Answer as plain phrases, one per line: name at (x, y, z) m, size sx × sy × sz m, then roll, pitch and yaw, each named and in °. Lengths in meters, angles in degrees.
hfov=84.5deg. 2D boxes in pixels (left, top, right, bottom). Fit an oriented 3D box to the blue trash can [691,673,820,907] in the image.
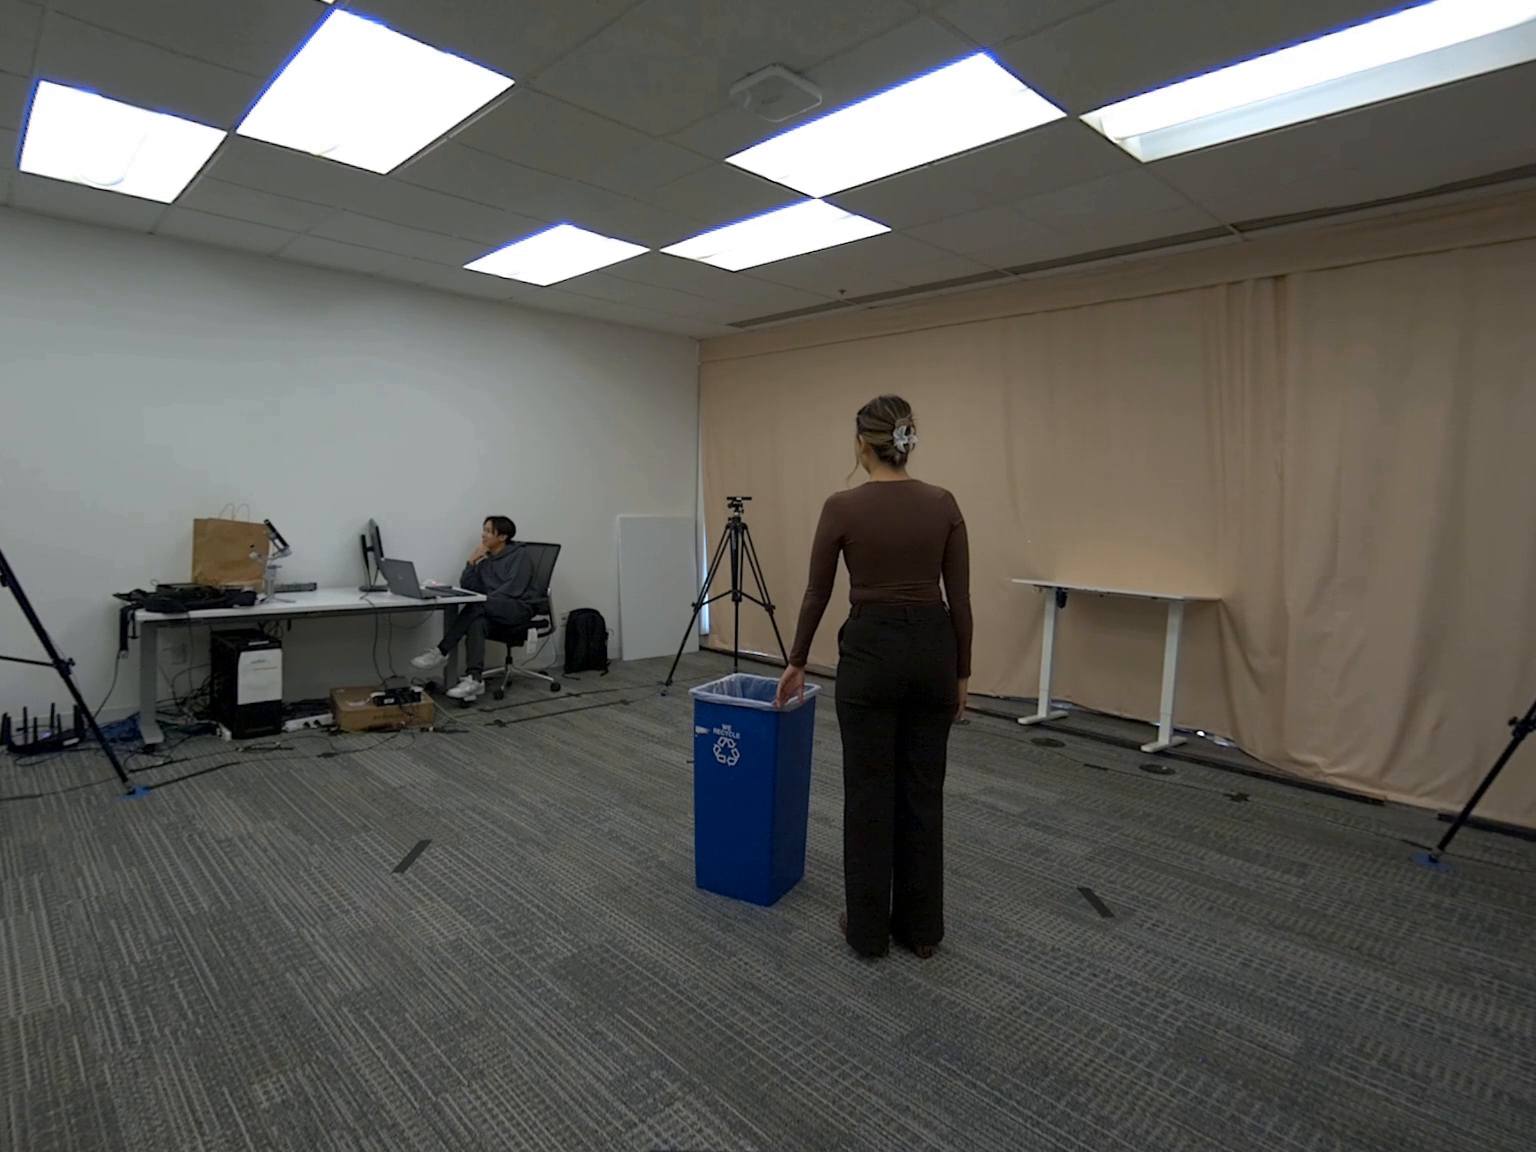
blue trash can at (-0.054, 0.754, 3.044) m, size 0.382 × 0.712 × 0.371 m, roll 3°, pitch 4°, yaw 28°
